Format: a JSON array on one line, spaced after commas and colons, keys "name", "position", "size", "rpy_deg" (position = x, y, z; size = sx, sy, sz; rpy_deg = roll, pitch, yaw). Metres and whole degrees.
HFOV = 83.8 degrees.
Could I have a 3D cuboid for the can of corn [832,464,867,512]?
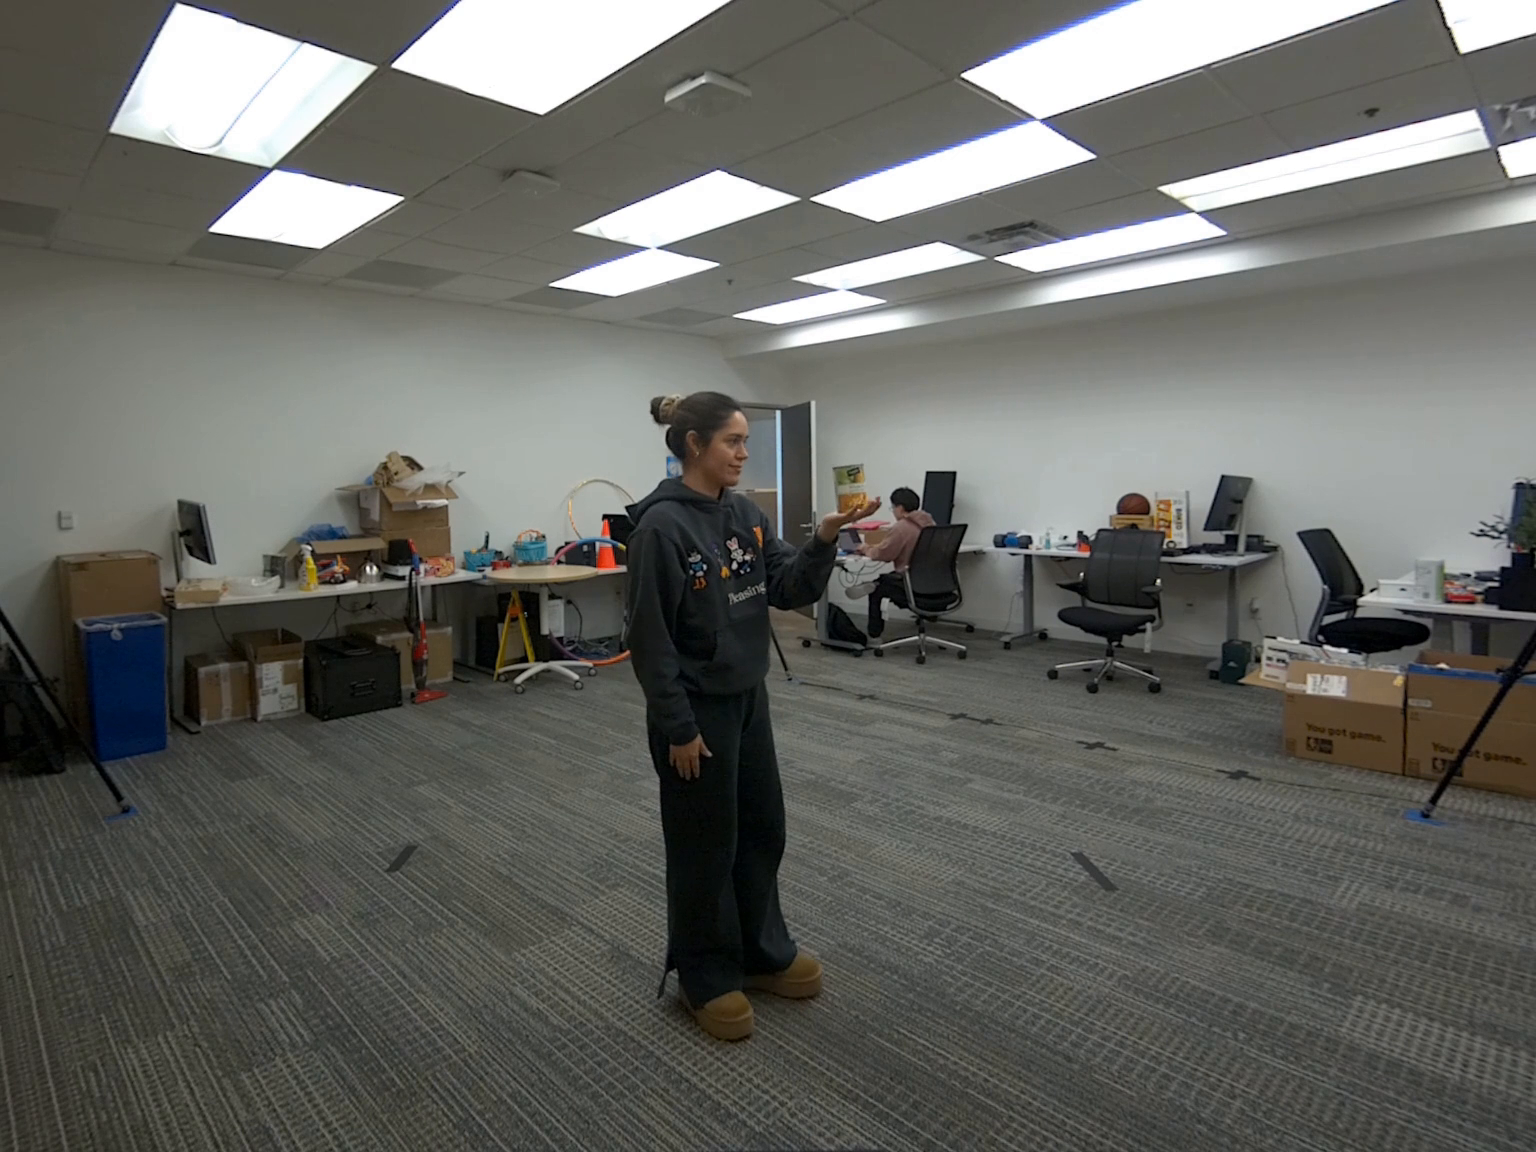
[{"name": "can of corn", "position": [0.193, -0.207, 2.026], "size": [0.074, 0.111, 0.074], "rpy_deg": [-6, 0, -2]}]
